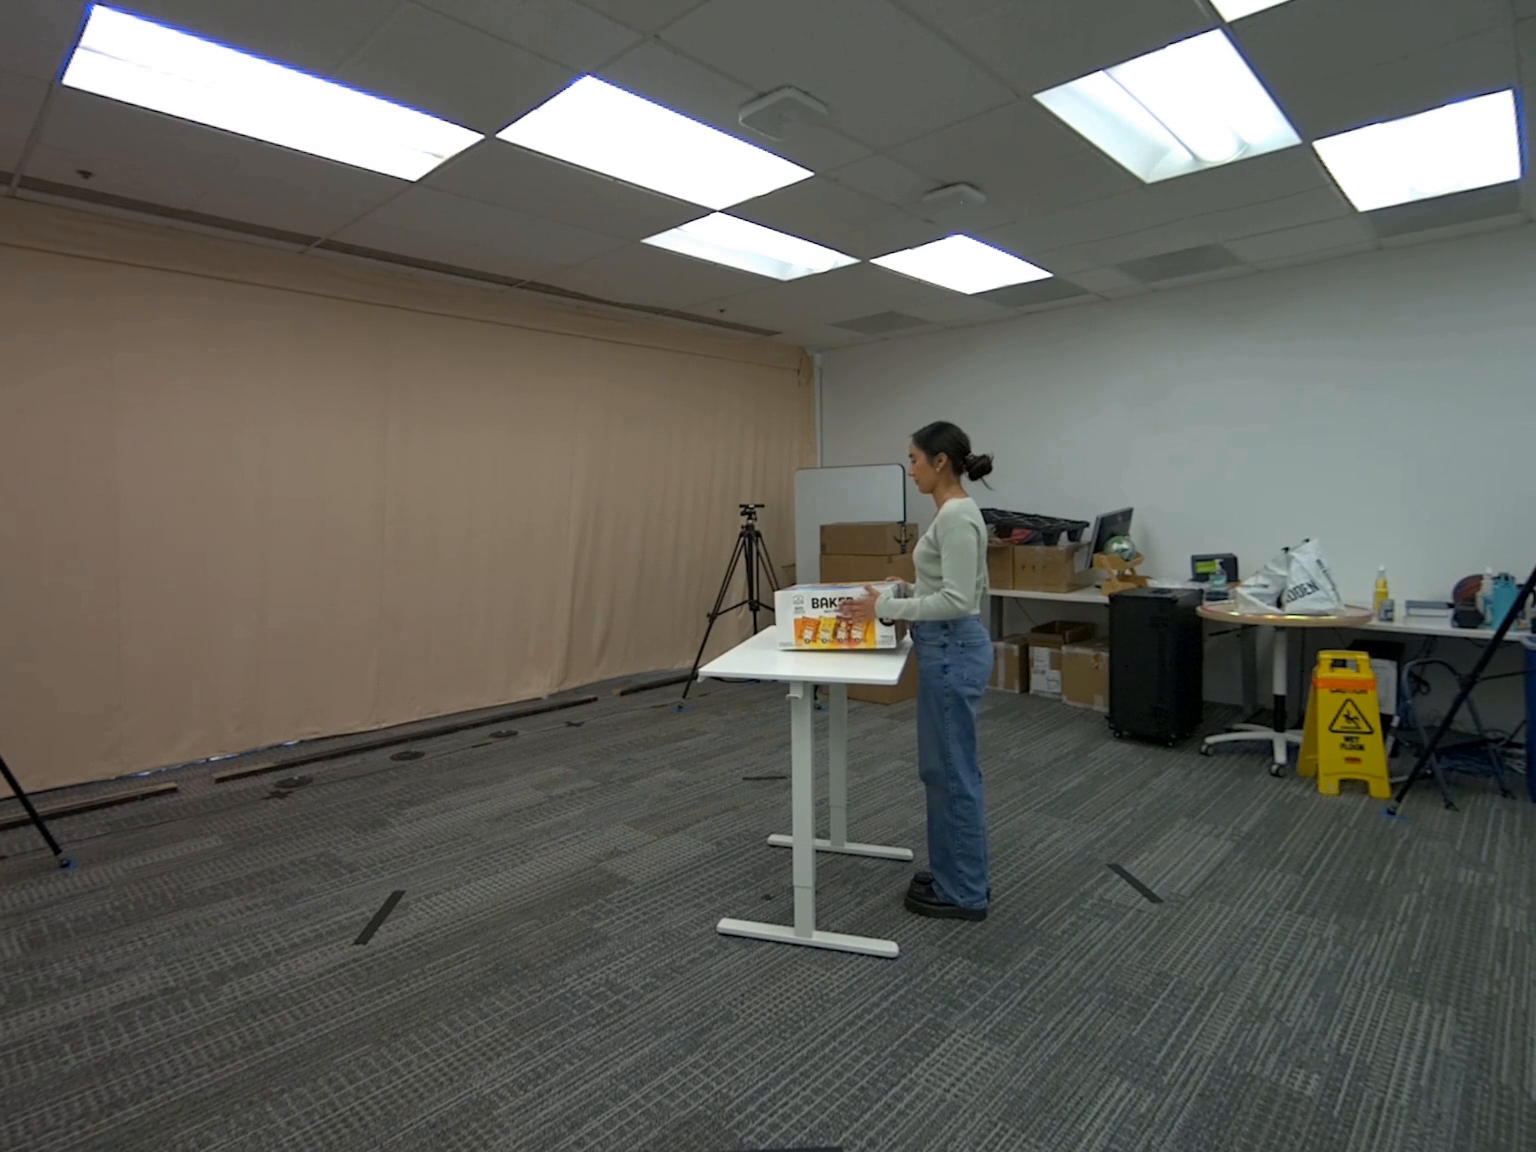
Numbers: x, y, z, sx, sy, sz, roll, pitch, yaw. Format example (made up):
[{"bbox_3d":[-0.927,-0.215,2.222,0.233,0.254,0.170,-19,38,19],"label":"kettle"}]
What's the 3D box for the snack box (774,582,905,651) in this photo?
[{"bbox_3d":[0.271,0.140,3.001,0.412,0.205,0.334,-3,2,17],"label":"snack box"}]
